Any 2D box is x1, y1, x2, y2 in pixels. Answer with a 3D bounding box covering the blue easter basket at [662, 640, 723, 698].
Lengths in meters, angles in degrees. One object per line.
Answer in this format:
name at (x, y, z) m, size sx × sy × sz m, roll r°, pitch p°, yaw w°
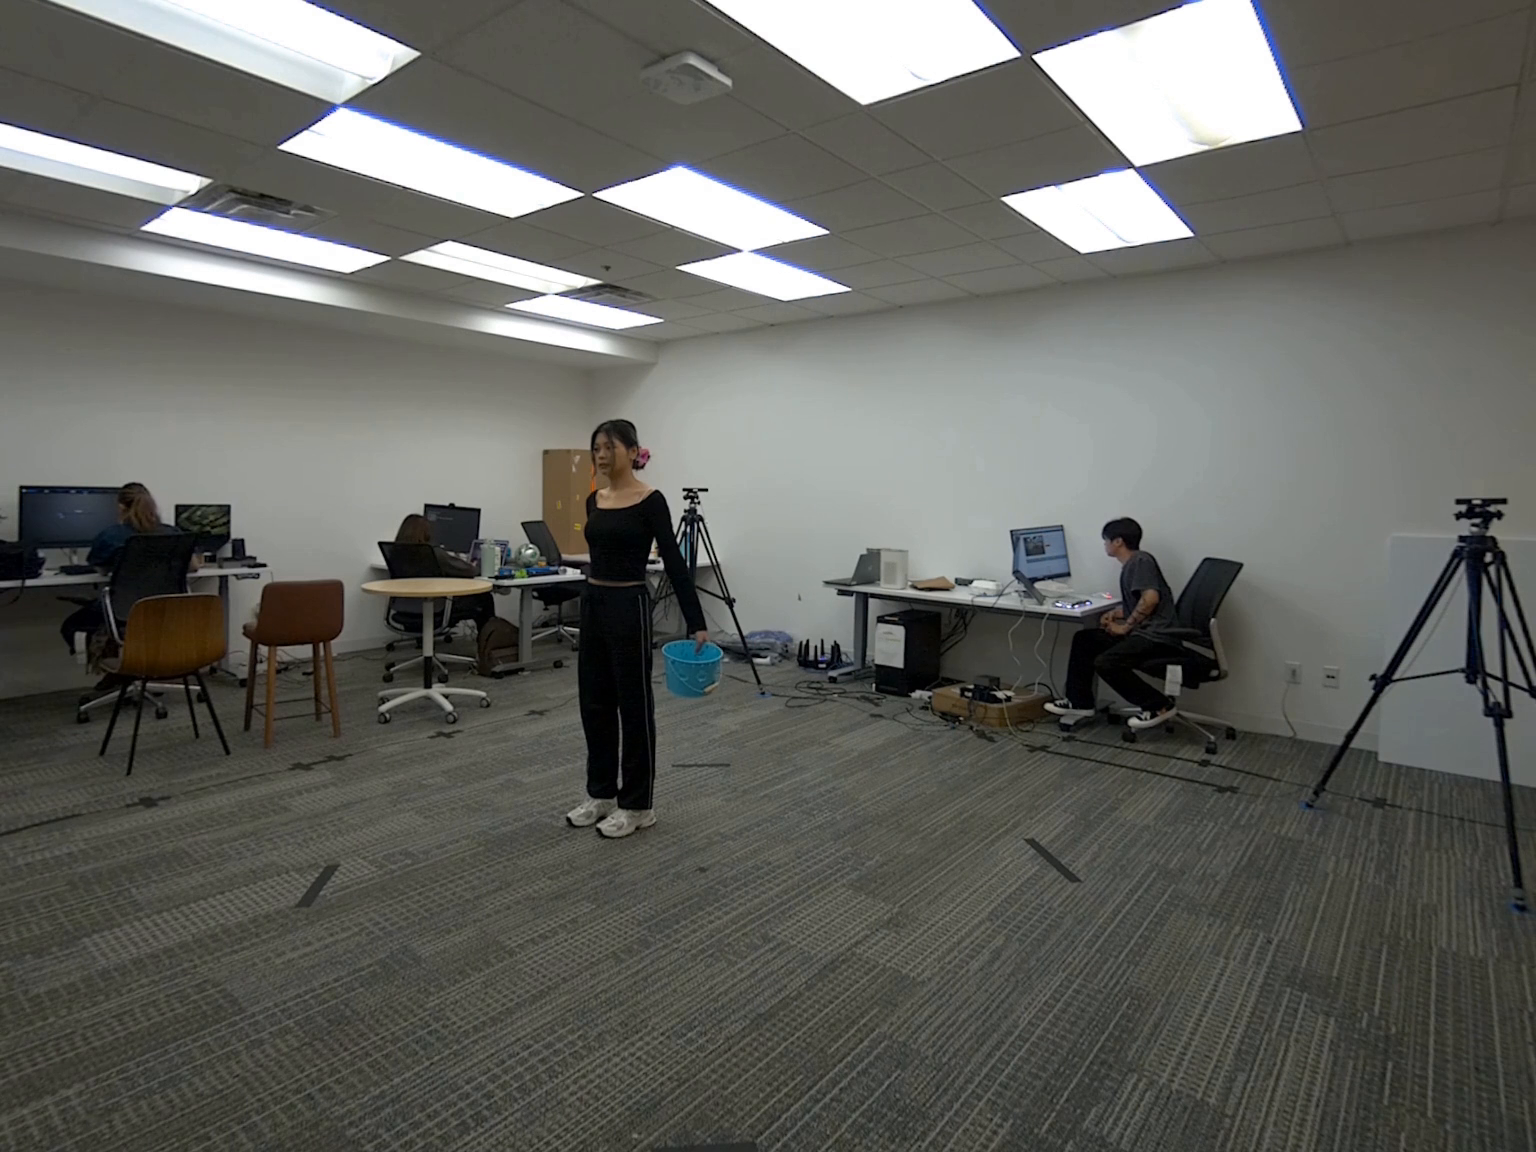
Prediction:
blue easter basket at (-0.300, 0.360, 3.253) m, size 0.243 × 0.154 × 0.247 m, roll 3°, pitch 14°, yaw -2°
